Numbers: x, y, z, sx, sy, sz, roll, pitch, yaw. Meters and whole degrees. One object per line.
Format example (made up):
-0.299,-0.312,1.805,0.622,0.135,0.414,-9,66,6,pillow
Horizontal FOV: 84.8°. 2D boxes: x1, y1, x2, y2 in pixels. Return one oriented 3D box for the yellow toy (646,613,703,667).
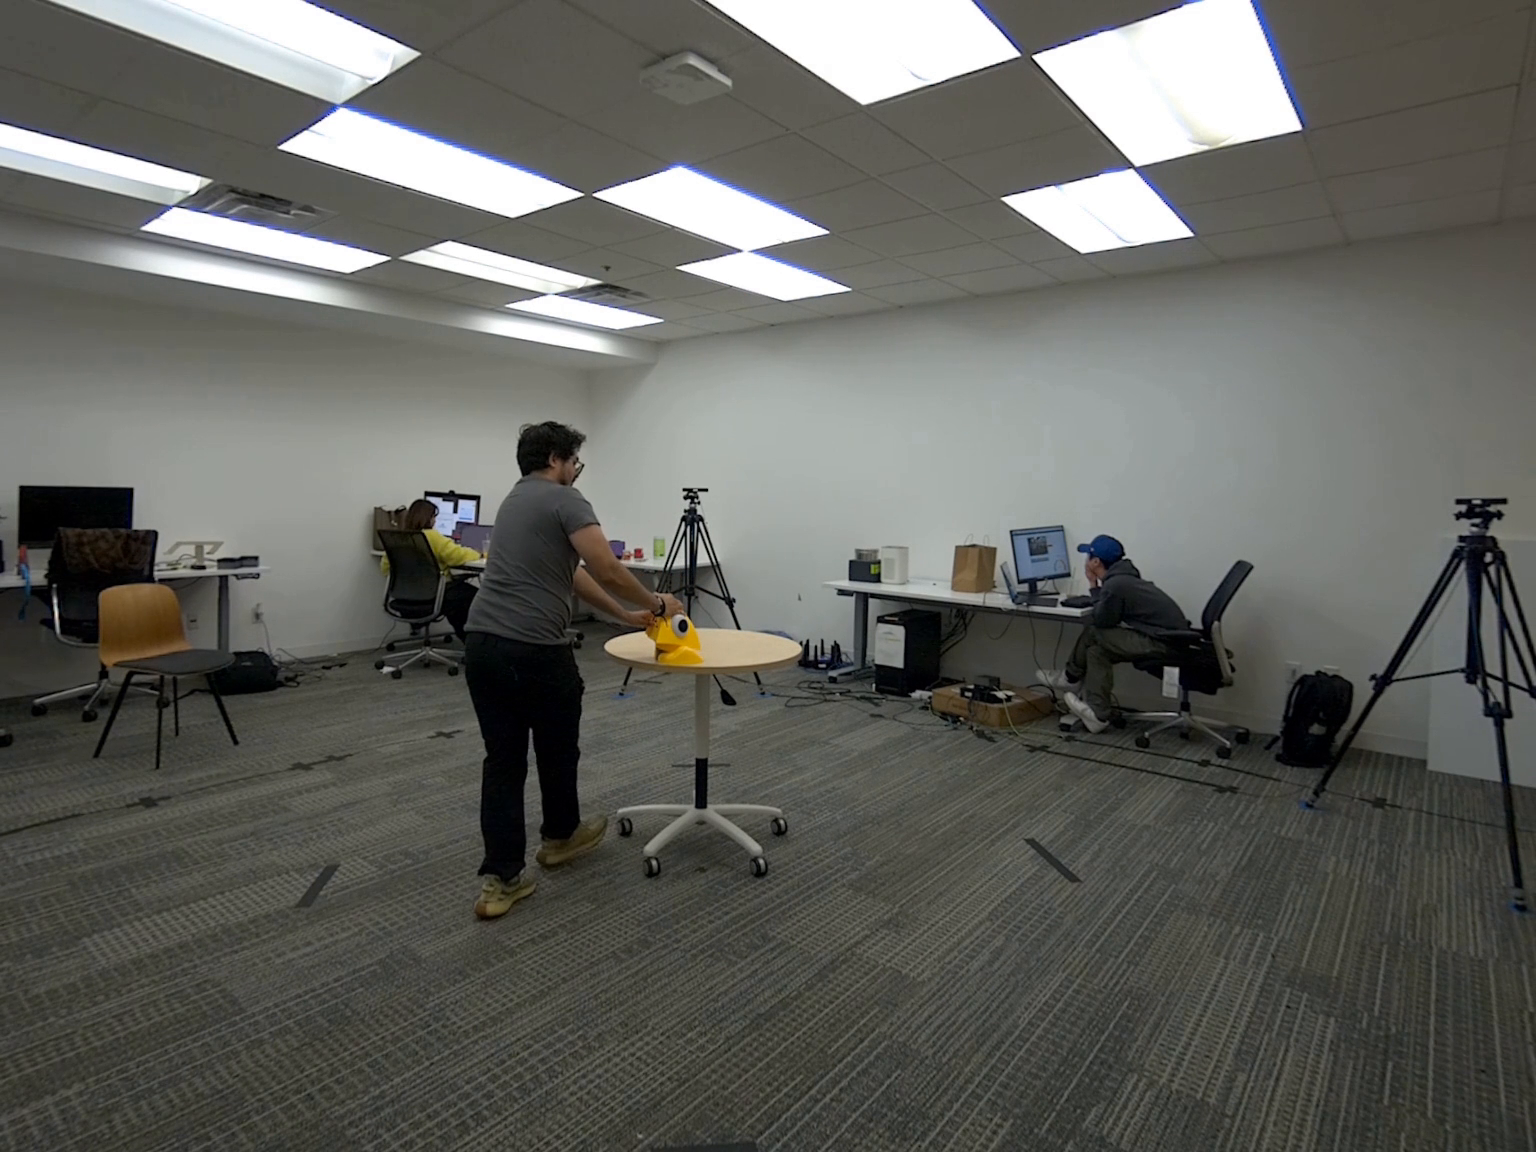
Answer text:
-0.340,0.180,3.056,0.190,0.230,0.209,0,6,-18,yellow toy
